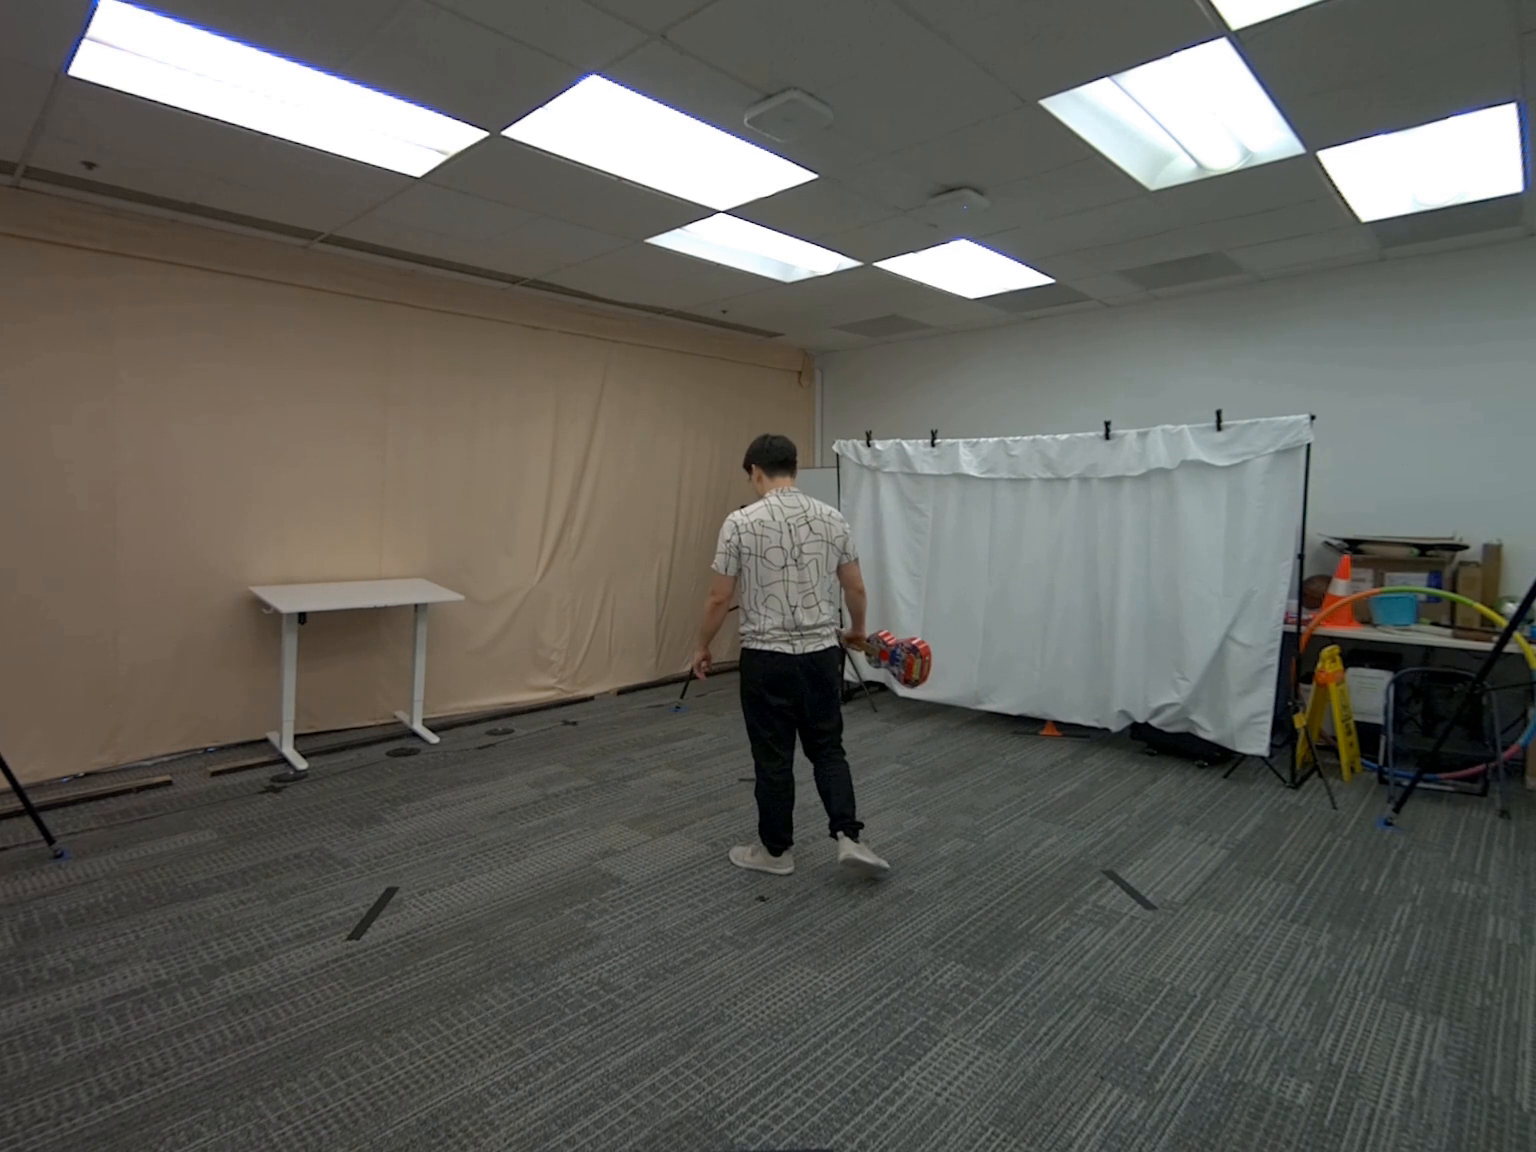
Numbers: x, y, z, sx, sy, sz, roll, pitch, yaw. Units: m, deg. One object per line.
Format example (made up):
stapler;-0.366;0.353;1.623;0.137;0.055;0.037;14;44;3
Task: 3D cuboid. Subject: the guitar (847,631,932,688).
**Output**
guitar;0.423;0.258;3.358;0.515;0.191;0.069;31;33;35
